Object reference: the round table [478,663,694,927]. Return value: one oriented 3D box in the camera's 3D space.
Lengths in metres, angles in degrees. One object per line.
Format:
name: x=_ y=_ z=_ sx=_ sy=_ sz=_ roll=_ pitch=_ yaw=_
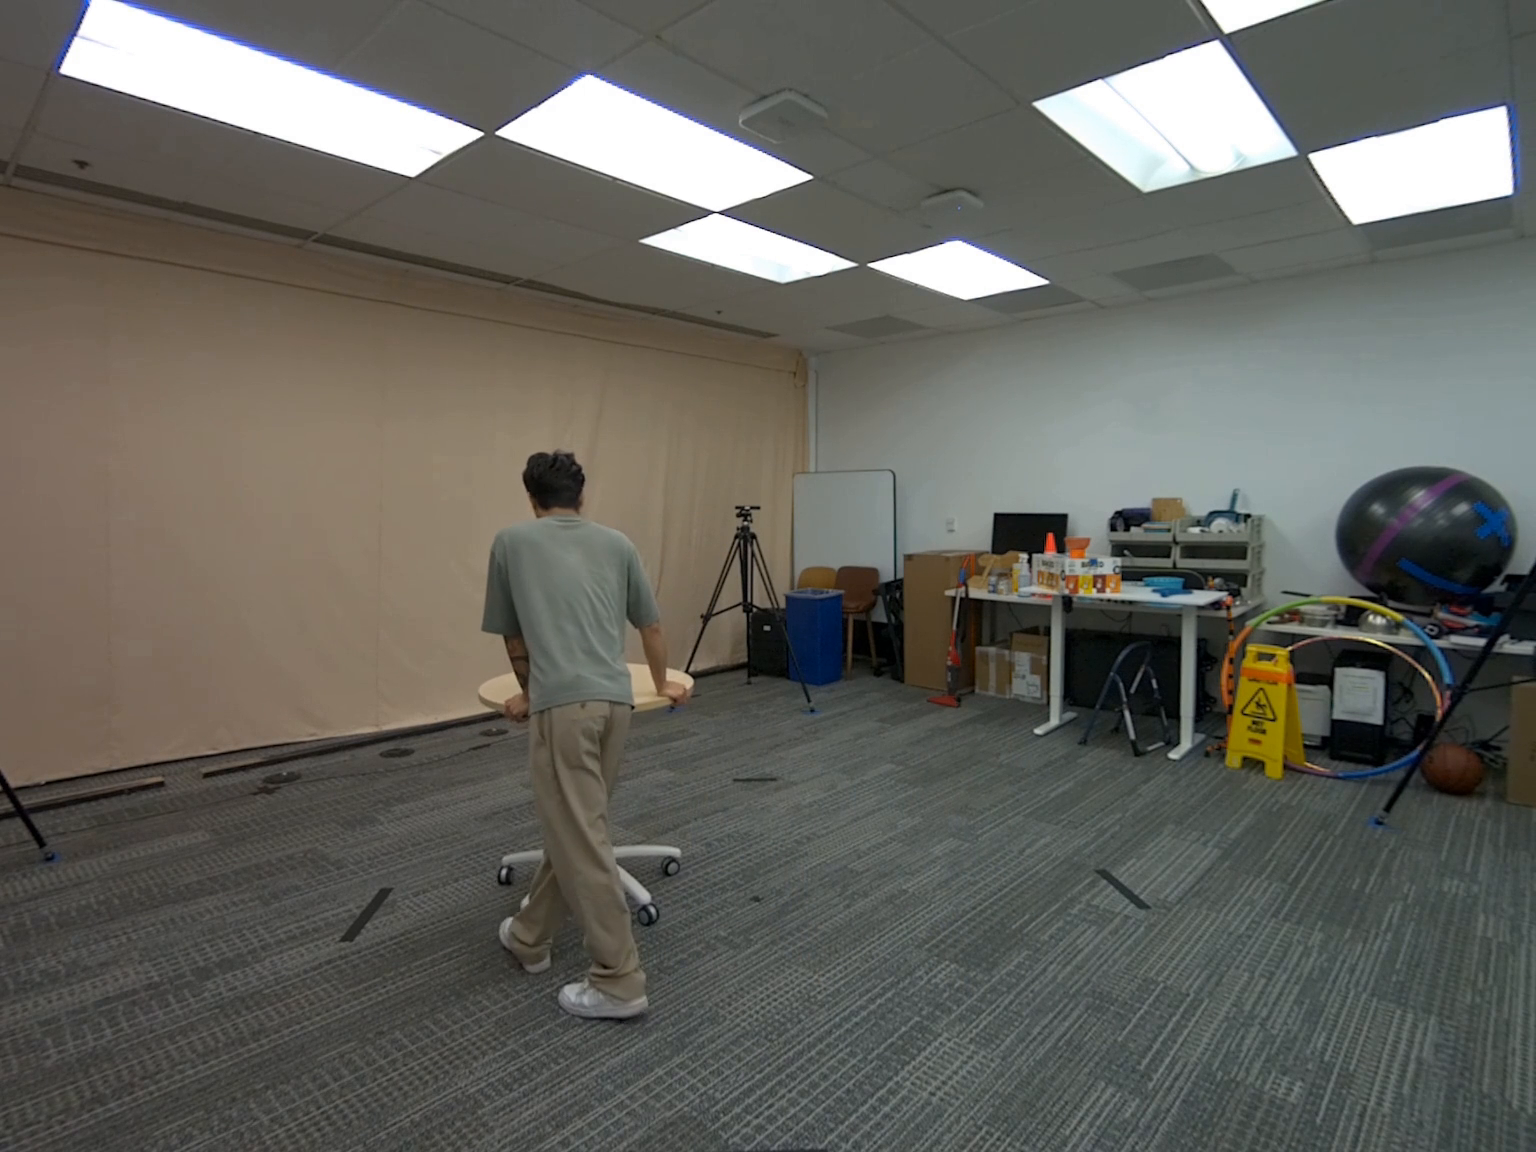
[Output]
round table: x=-0.628 y=0.763 z=3.053 sx=0.784 sy=0.784 sz=0.788 roll=-1 pitch=4 yaw=-2
